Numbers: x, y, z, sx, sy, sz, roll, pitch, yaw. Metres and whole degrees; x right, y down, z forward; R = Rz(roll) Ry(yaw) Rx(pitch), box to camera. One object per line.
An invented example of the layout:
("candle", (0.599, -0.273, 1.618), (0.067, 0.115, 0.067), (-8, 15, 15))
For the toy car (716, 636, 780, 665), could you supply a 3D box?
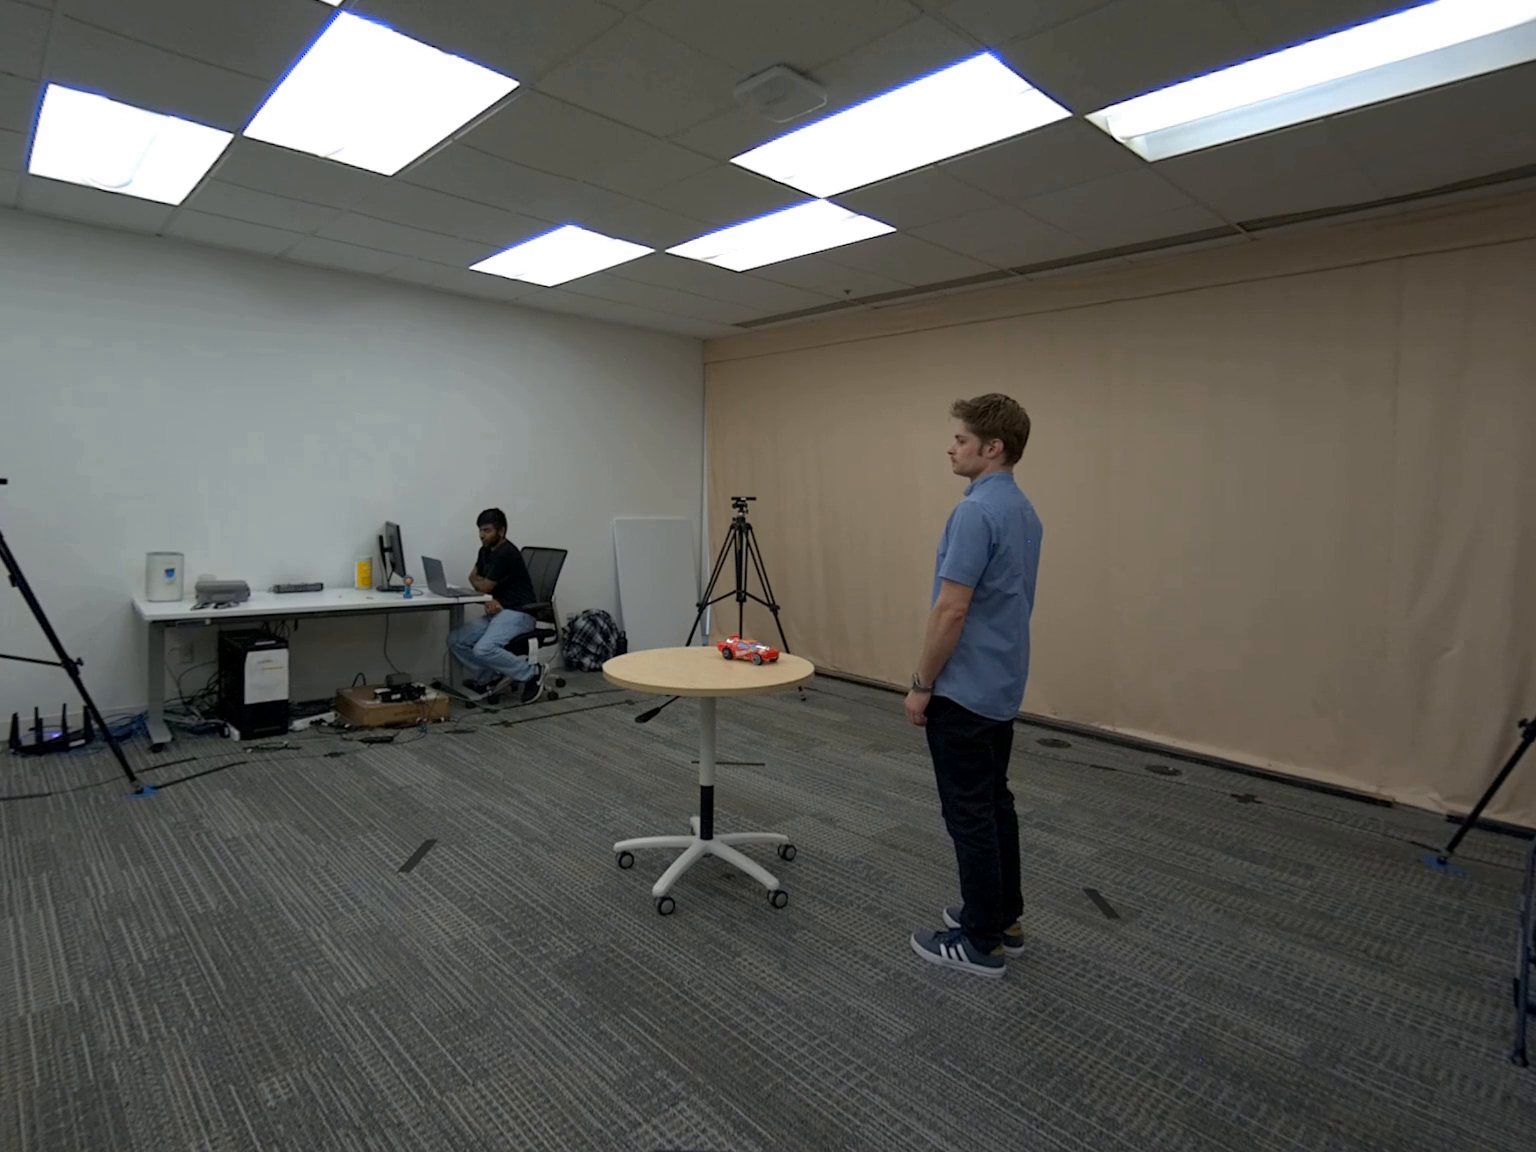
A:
("toy car", (-0.087, 0.285, 3.172), (0.262, 0.082, 0.127), (18, 15, 39))
